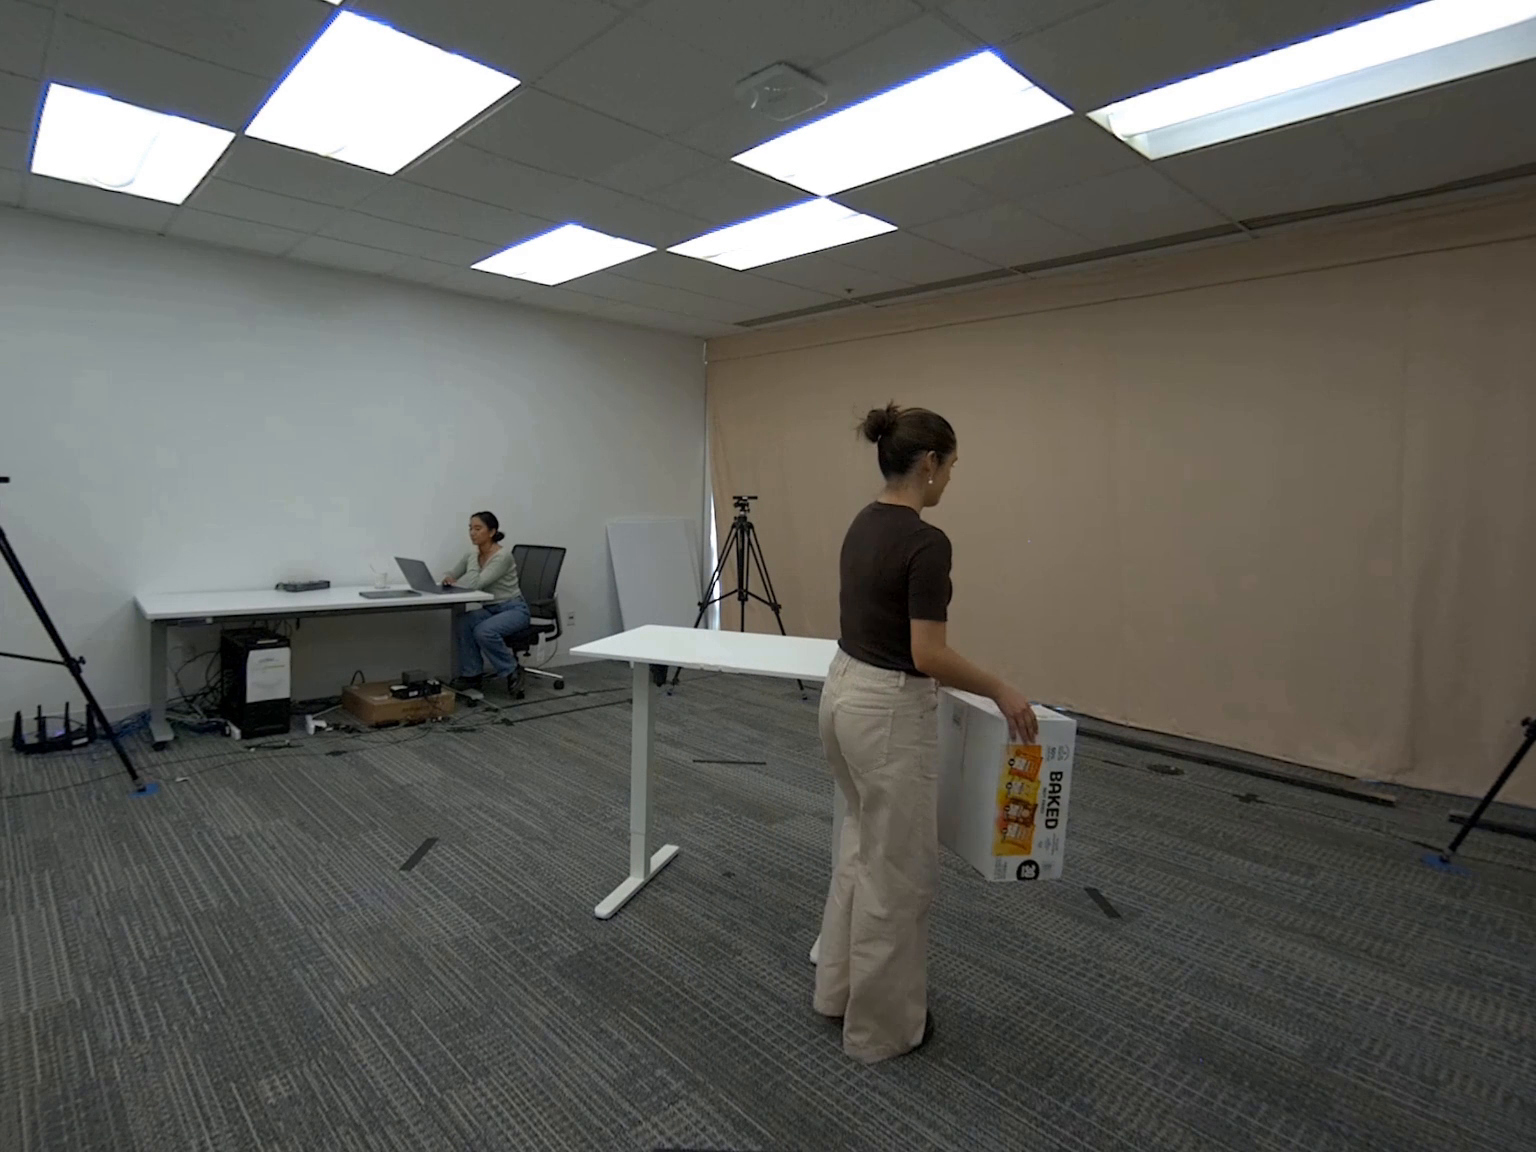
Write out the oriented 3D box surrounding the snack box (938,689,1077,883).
[{"bbox_3d":[0.598,0.540,2.220,0.203,0.404,0.346,3,5,-17],"label":"snack box"}]
